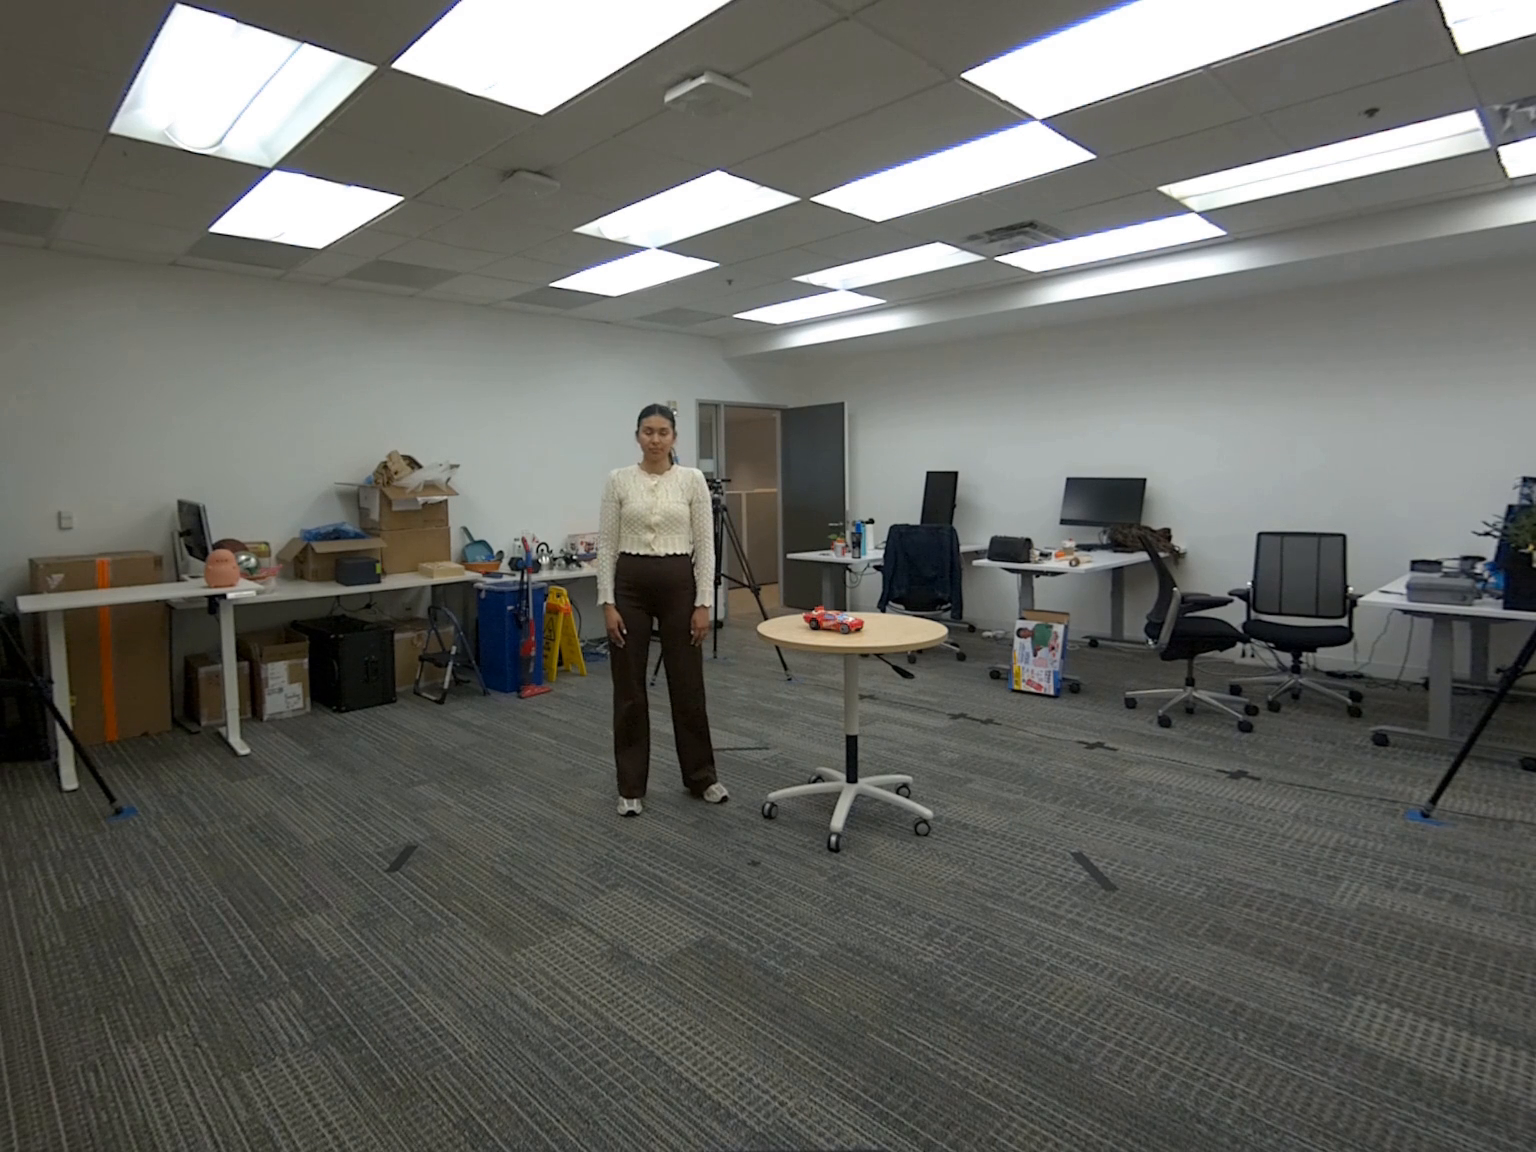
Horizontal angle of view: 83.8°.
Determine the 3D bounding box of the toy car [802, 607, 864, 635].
[{"bbox_3d":[0.263,0.185,3.448,0.264,0.082,0.127,18,16,39],"label":"toy car"}]
